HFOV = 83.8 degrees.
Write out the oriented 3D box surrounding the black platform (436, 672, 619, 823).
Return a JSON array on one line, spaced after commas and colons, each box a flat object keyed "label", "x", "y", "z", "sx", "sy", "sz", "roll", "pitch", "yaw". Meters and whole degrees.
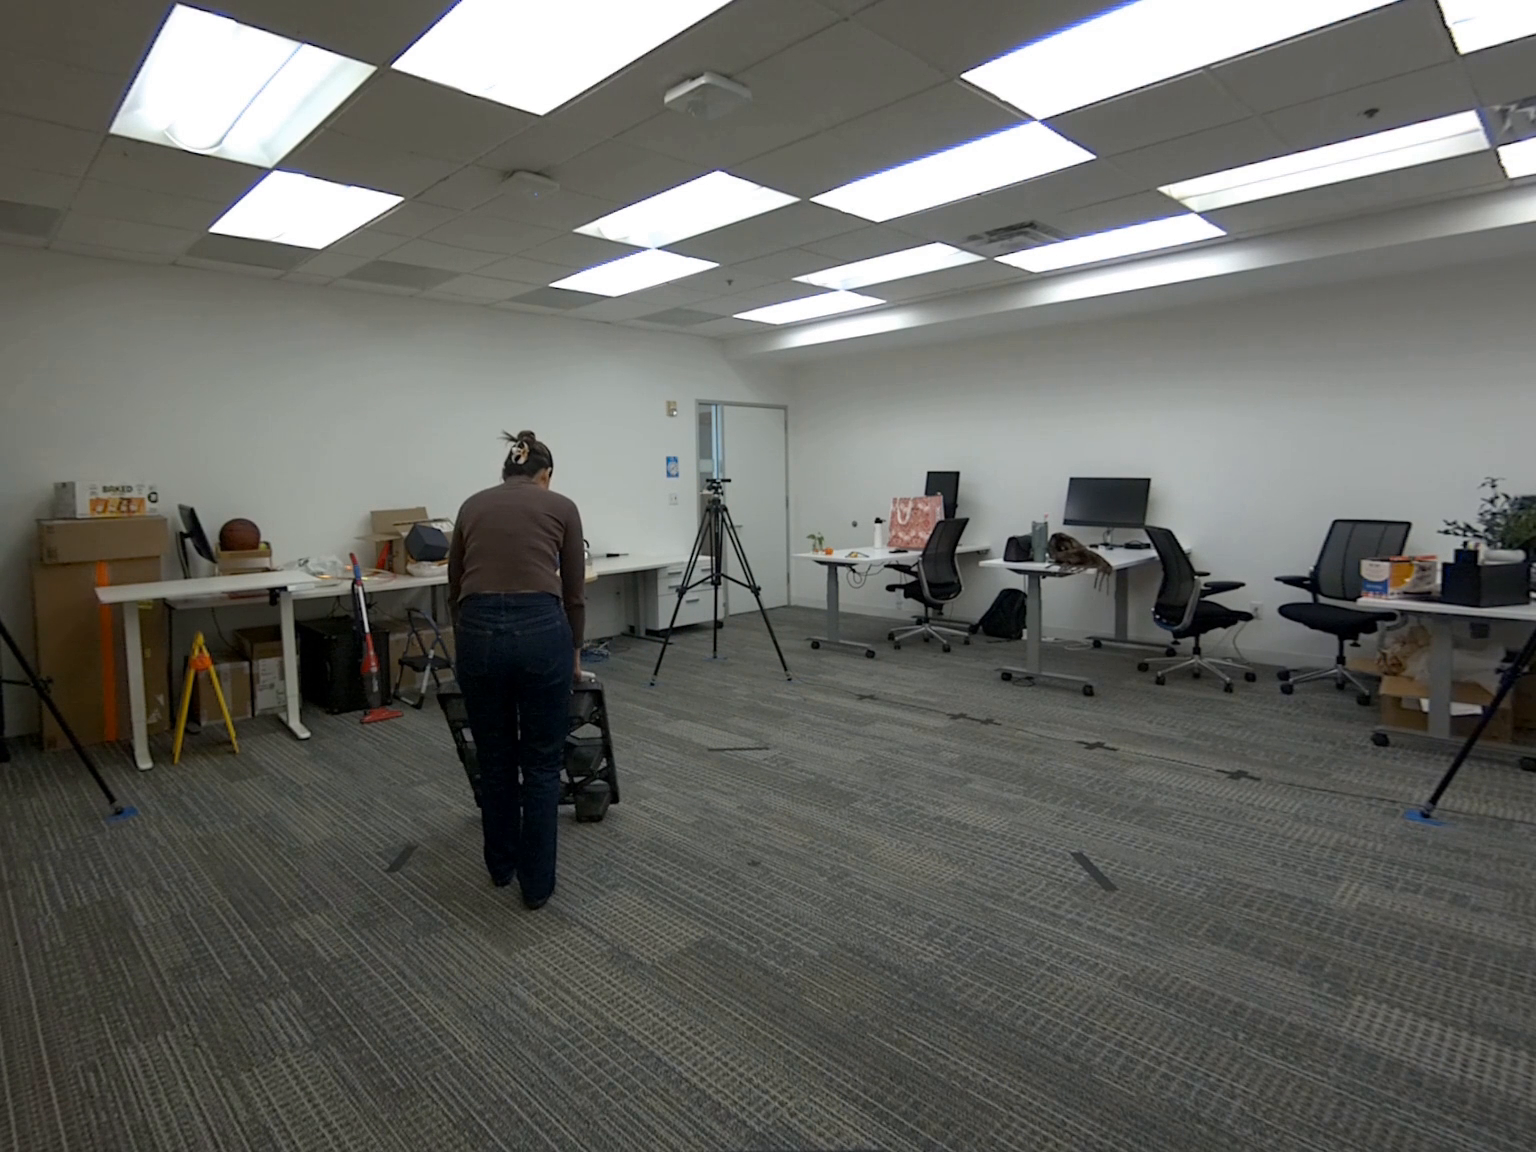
[{"label": "black platform", "x": -0.919, "y": 0.710, "z": 3.313, "sx": 0.604, "sy": 0.784, "sz": 0.147, "roll": -1, "pitch": 43, "yaw": -2}]
